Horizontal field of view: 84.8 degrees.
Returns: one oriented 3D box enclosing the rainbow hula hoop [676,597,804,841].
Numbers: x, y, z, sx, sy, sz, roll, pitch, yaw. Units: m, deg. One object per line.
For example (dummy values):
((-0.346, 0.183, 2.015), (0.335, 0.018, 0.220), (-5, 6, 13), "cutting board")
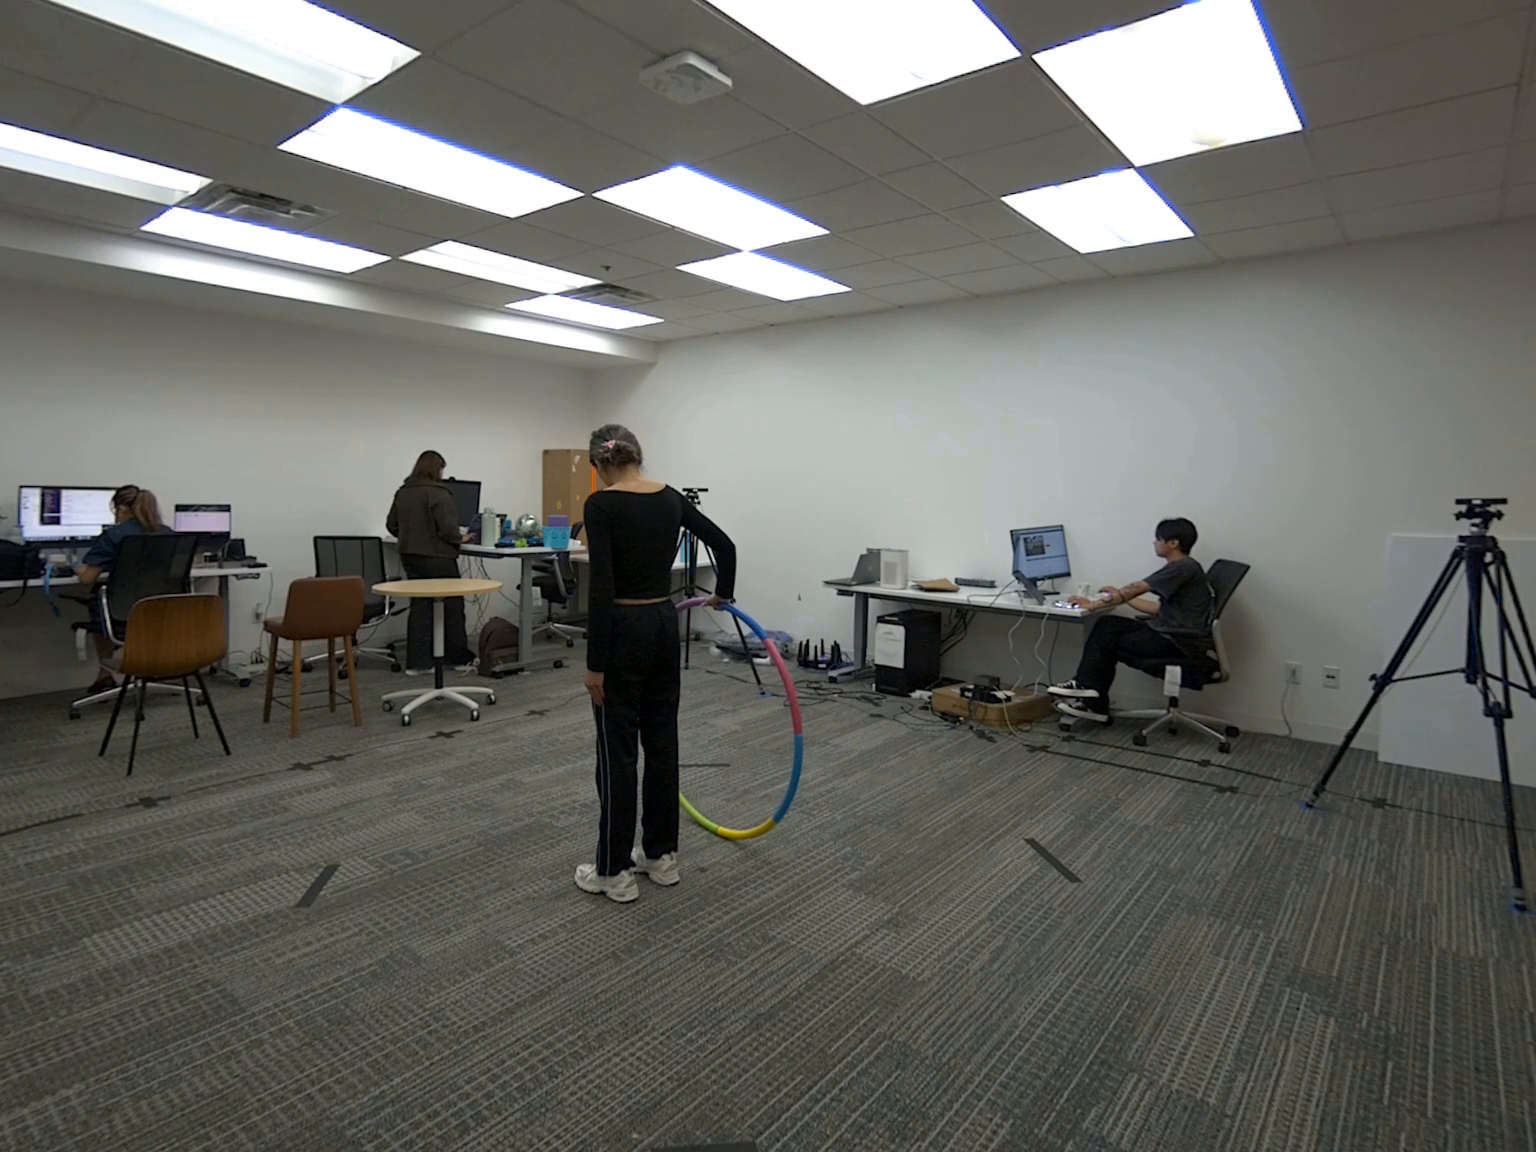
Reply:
((-0.232, 0.560, 3.422), (0.034, 0.974, 1.012), (-4, 6, -41), "rainbow hula hoop")
